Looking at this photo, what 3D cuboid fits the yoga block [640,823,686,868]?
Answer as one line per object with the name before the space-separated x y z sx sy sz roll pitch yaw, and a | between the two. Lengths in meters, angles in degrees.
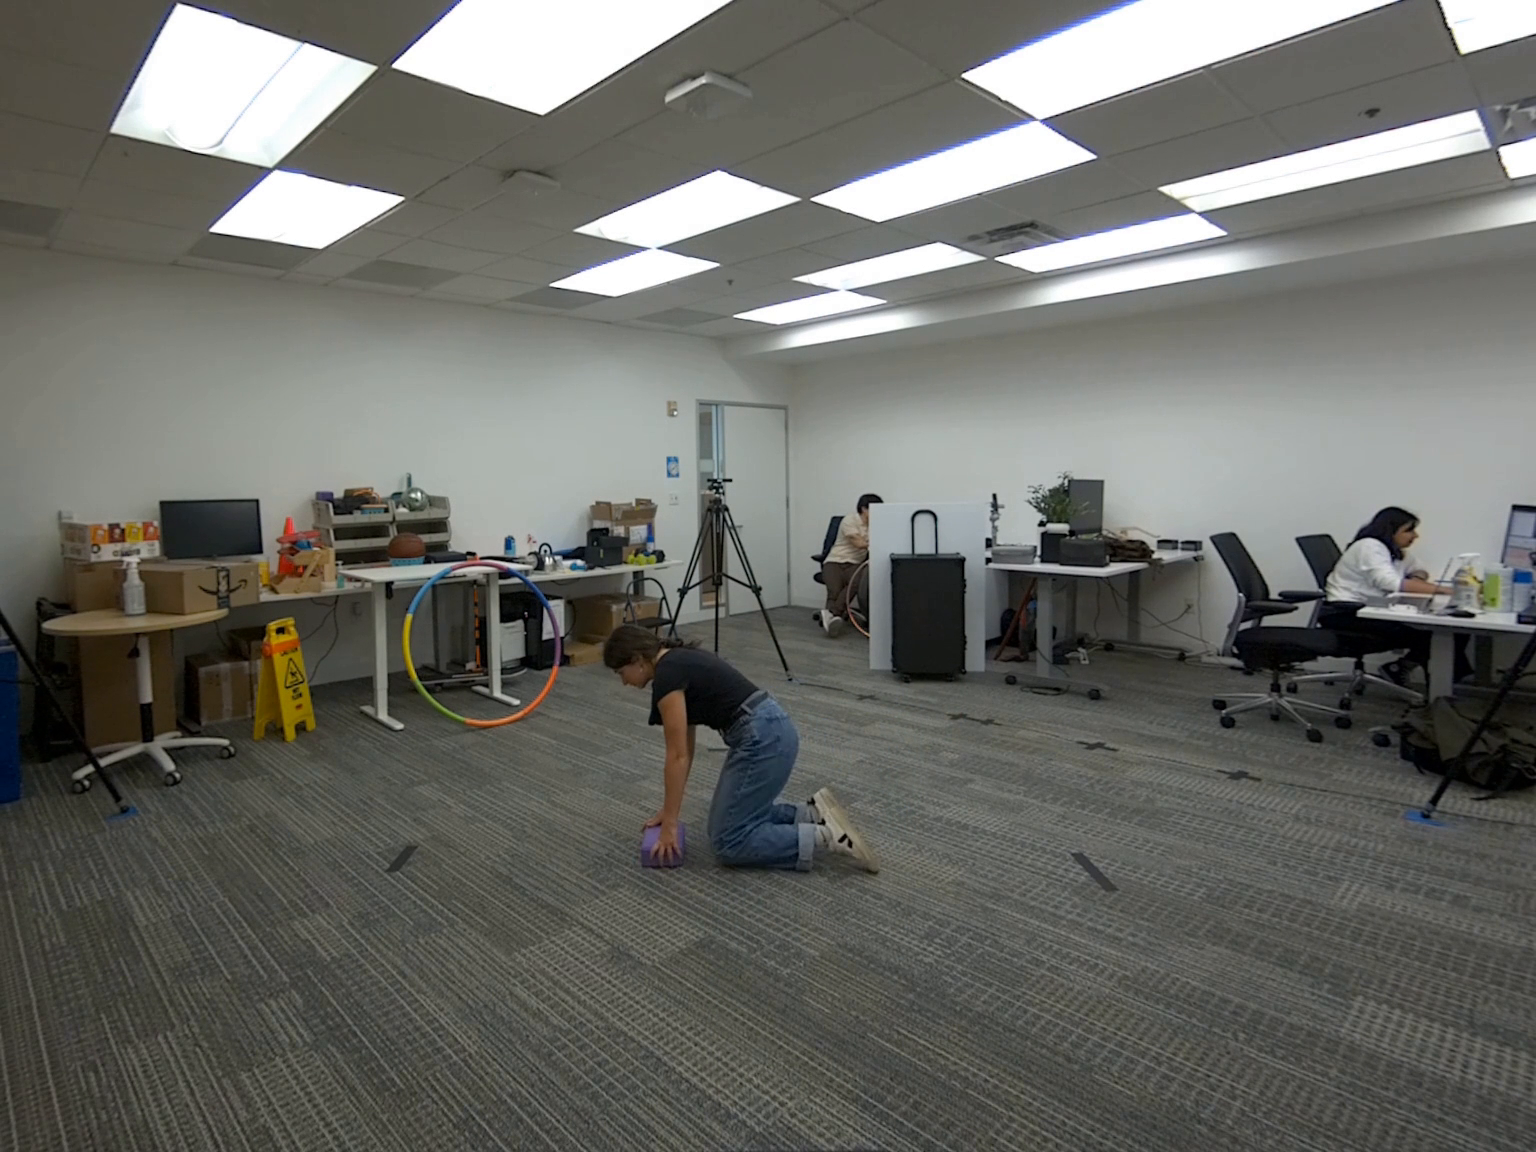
yoga block | -0.388 1.001 3.198 0.149 0.076 0.230 -1 5 0
